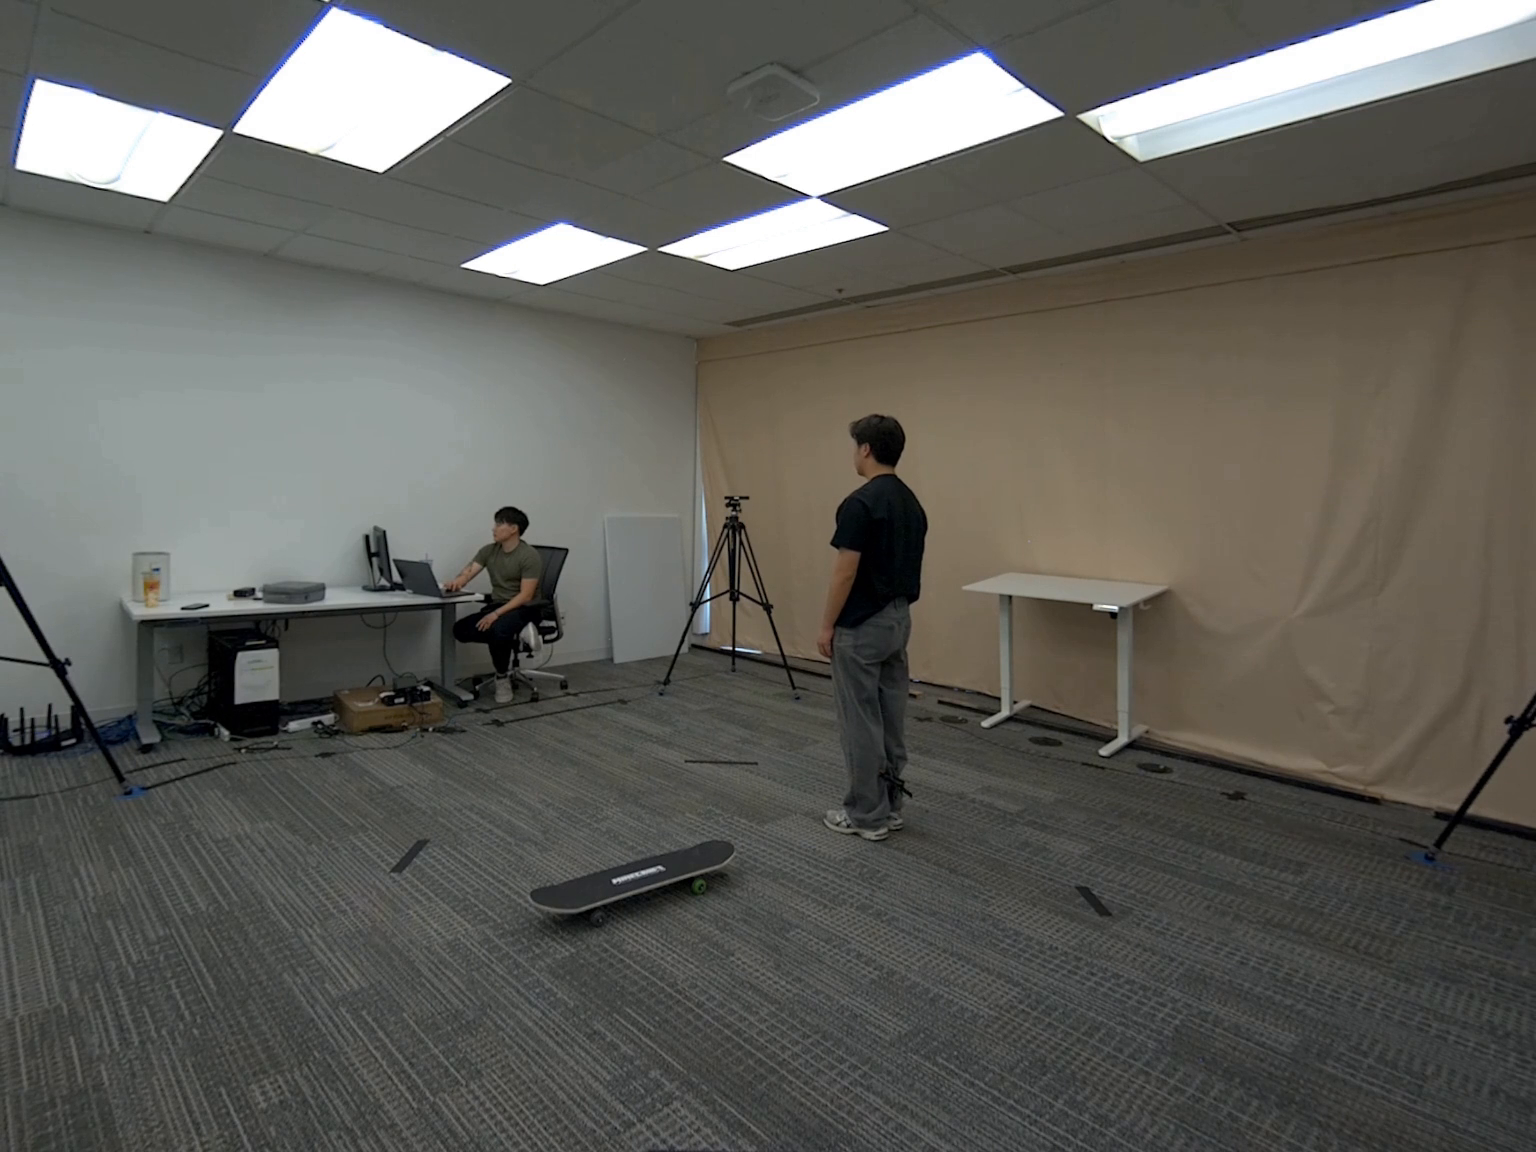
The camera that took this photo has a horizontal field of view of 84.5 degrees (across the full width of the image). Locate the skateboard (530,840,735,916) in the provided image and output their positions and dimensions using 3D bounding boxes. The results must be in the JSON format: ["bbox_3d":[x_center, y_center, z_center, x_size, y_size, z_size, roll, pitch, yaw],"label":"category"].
[{"bbox_3d":[-0.450,1.060,2.891,0.768,0.110,0.198,-3,7,-38],"label":"skateboard"}]
